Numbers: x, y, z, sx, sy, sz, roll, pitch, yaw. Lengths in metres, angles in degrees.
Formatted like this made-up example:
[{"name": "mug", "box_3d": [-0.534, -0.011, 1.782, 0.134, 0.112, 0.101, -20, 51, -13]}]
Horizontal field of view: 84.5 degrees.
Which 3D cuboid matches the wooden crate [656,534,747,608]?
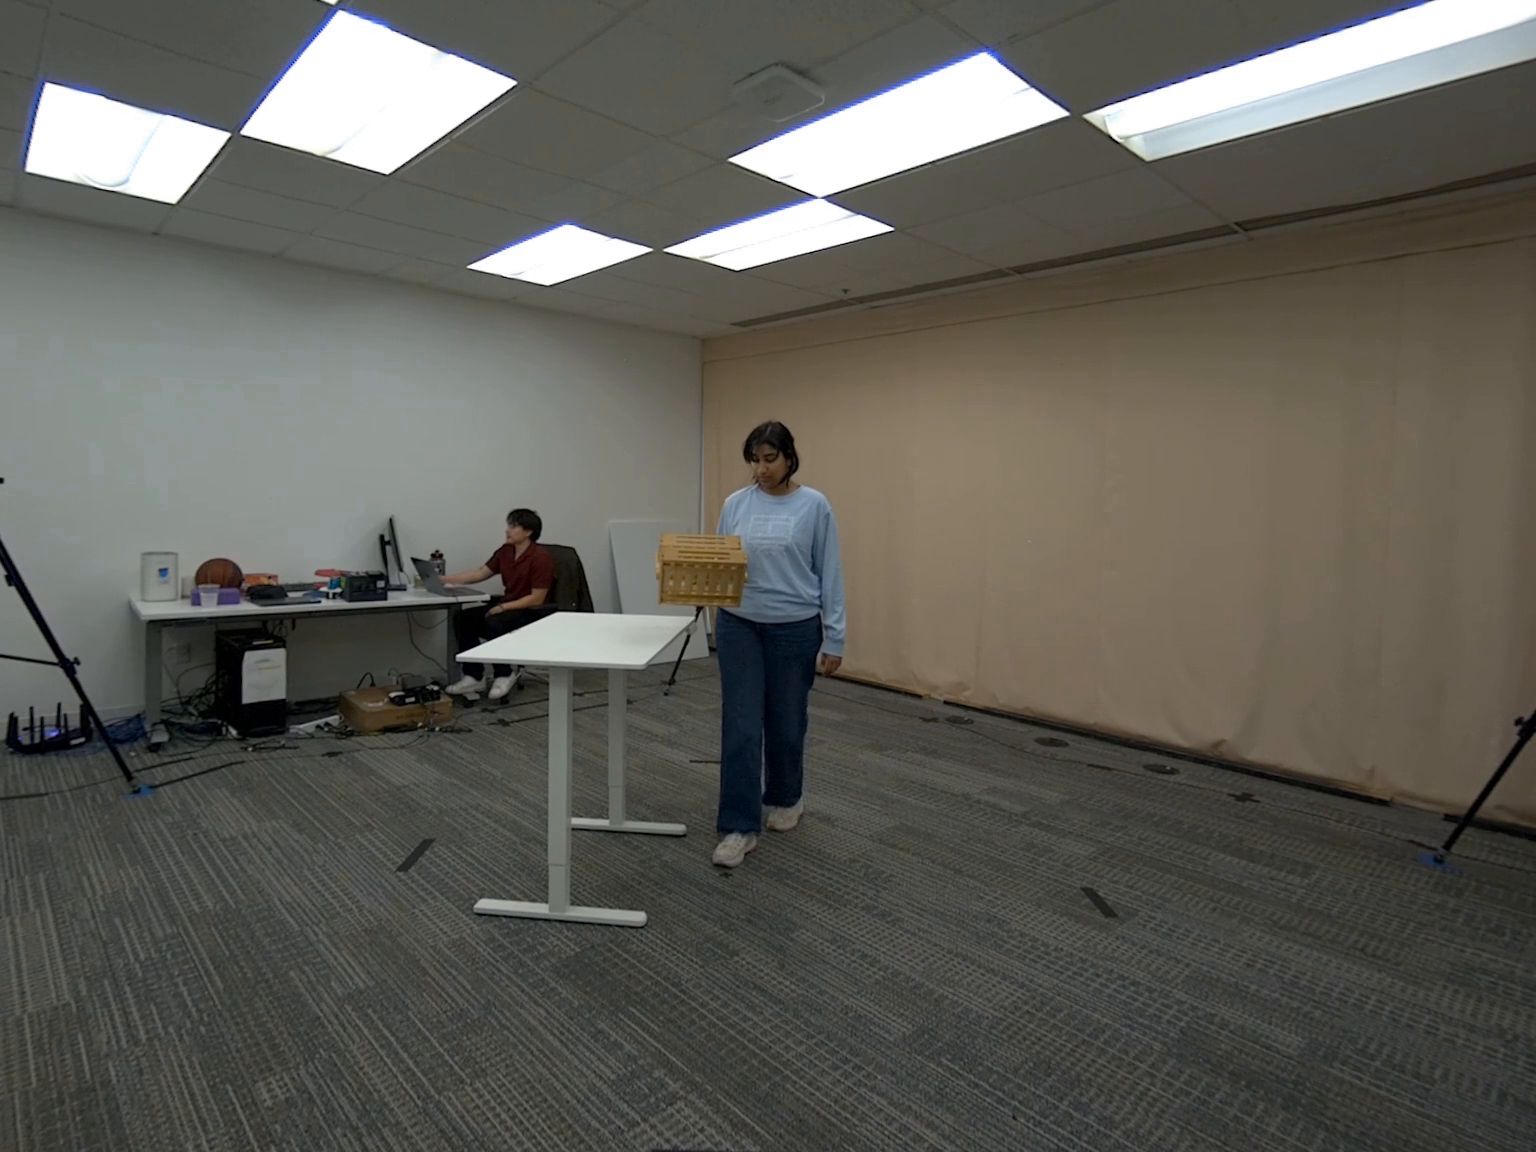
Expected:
[{"name": "wooden crate", "box_3d": [-0.266, -0.053, 3.097, 0.322, 0.296, 0.280, 3, 44, -8]}]
